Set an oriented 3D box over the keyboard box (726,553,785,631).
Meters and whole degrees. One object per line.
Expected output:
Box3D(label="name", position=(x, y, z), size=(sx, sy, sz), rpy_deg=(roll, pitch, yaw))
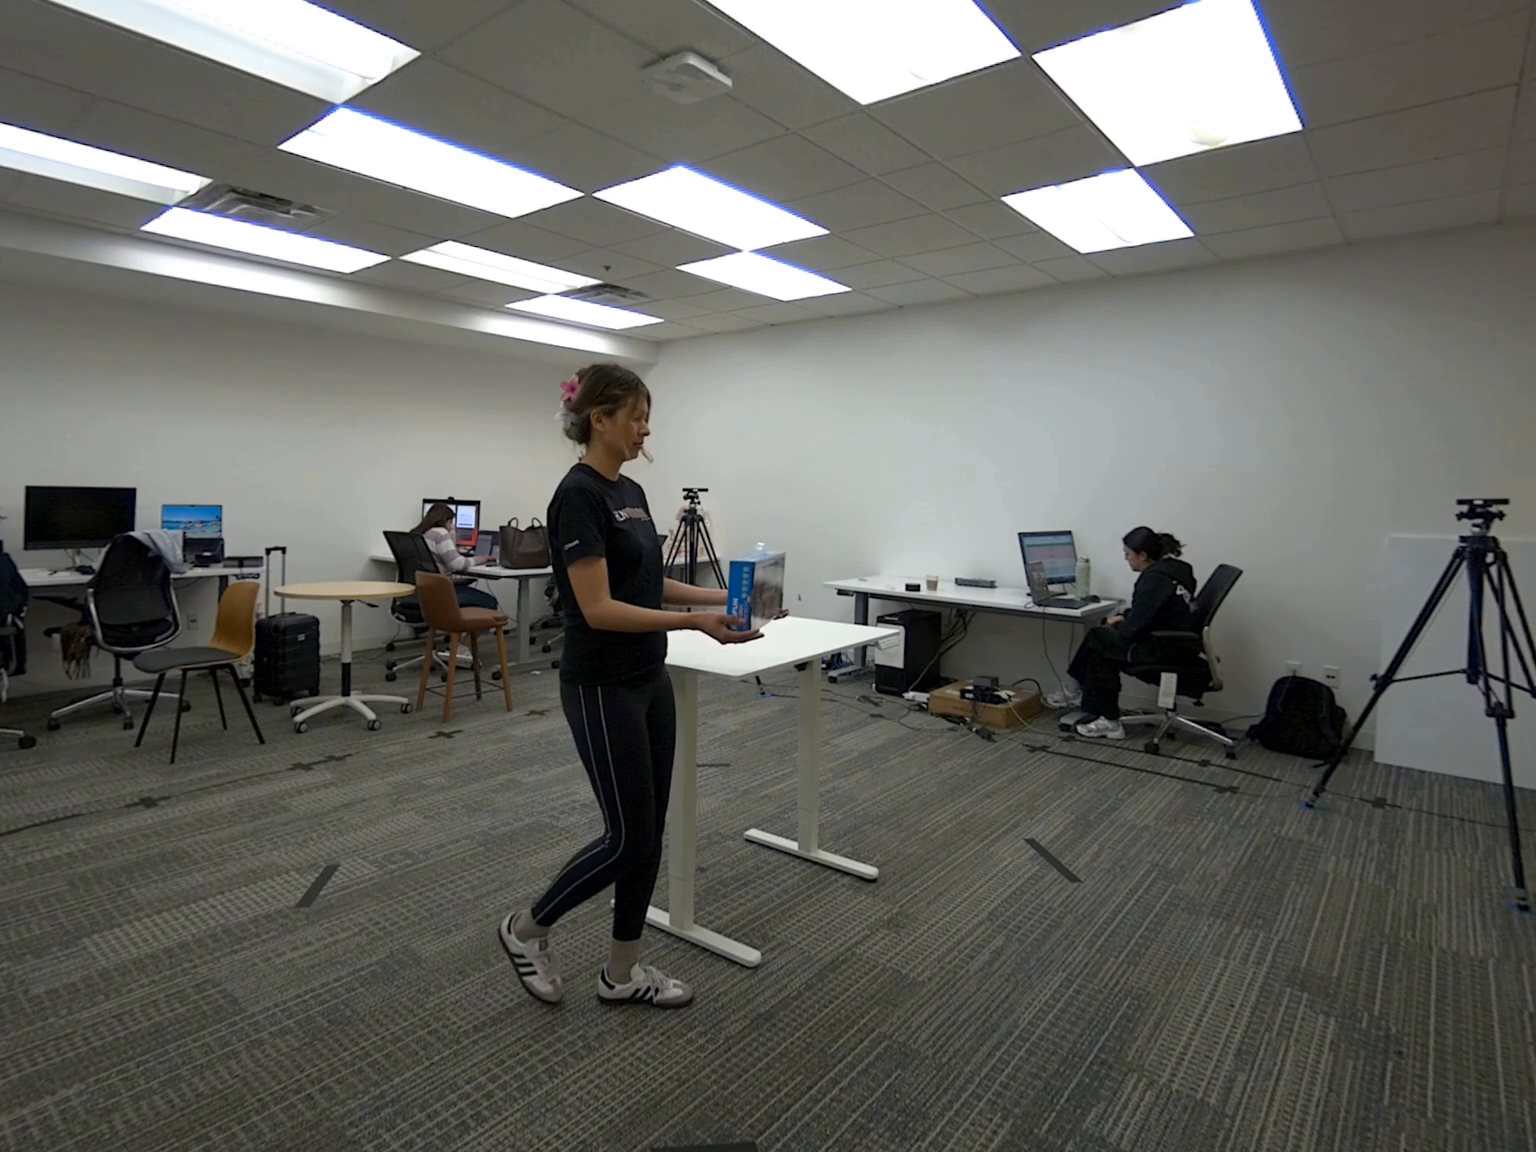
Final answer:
Box3D(label="keyboard box", position=(-0.037, 0.037, 2.138), size=(0.060, 0.175, 0.432), rpy_deg=(4, 5, 11))
